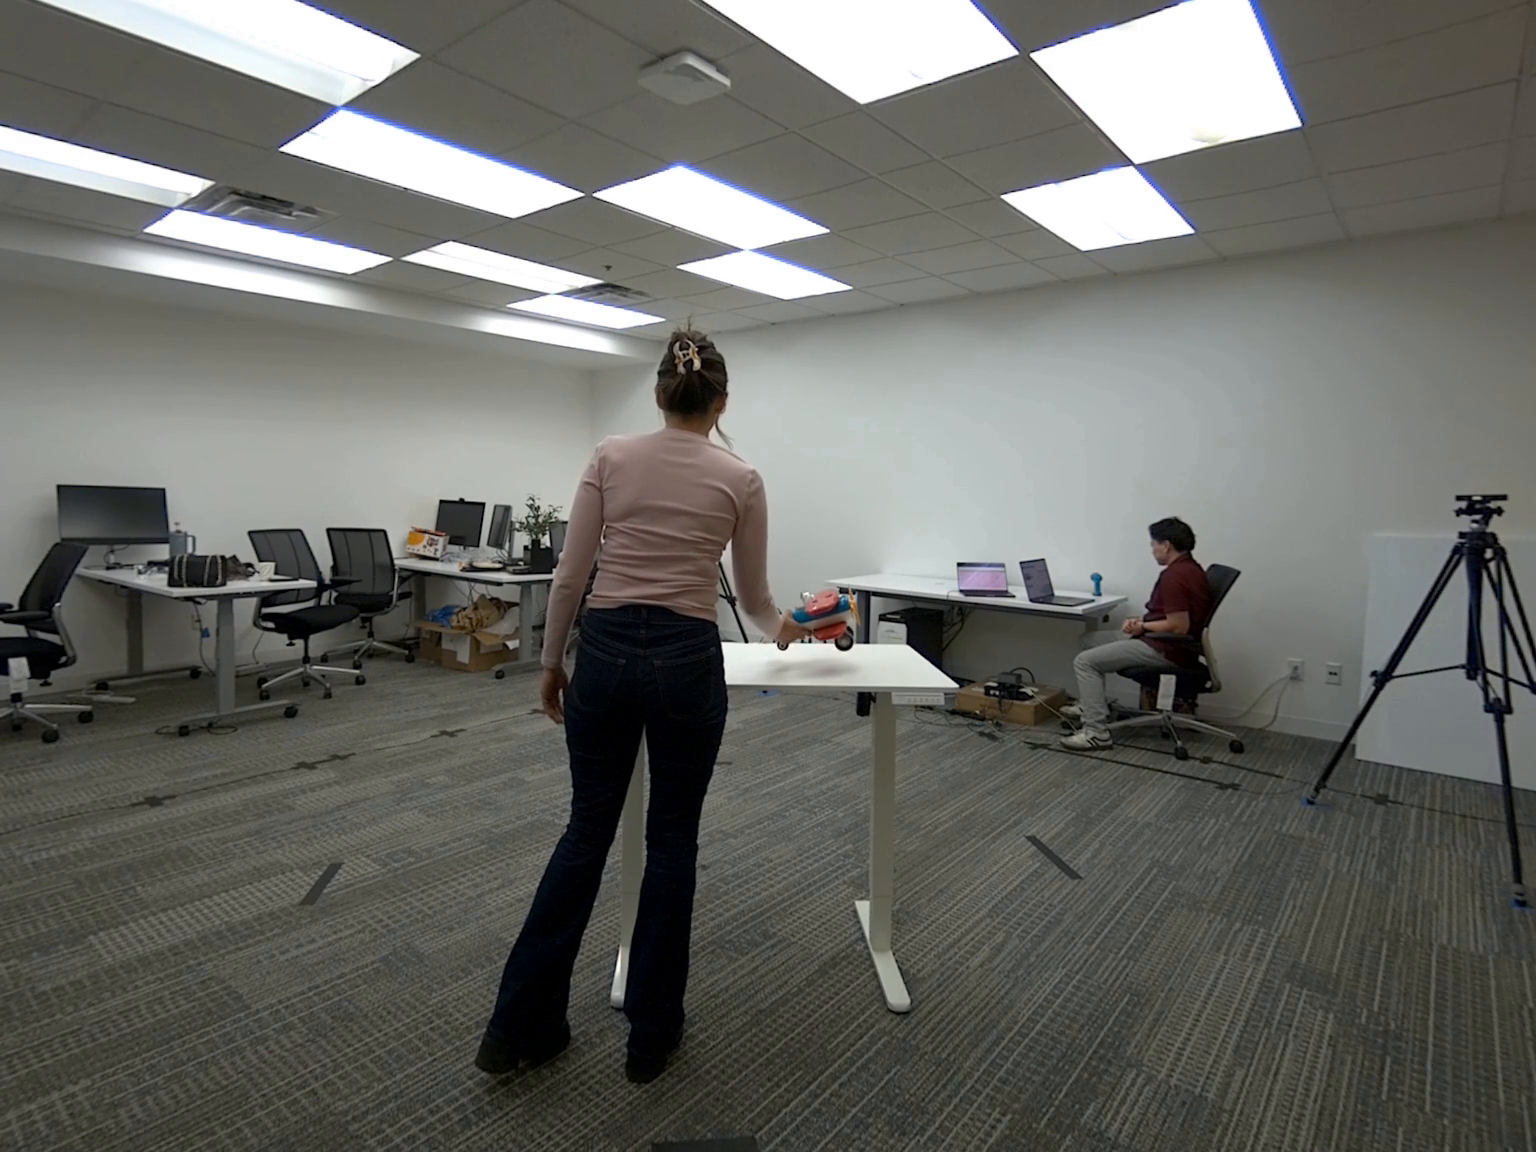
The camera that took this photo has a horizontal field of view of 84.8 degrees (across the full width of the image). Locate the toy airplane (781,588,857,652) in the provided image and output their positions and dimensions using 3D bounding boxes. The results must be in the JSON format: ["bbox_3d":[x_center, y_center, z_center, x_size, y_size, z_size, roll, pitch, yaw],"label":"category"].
[{"bbox_3d":[0.124,0.133,2.420,0.254,0.155,0.258,-7,8,-23],"label":"toy airplane"}]
